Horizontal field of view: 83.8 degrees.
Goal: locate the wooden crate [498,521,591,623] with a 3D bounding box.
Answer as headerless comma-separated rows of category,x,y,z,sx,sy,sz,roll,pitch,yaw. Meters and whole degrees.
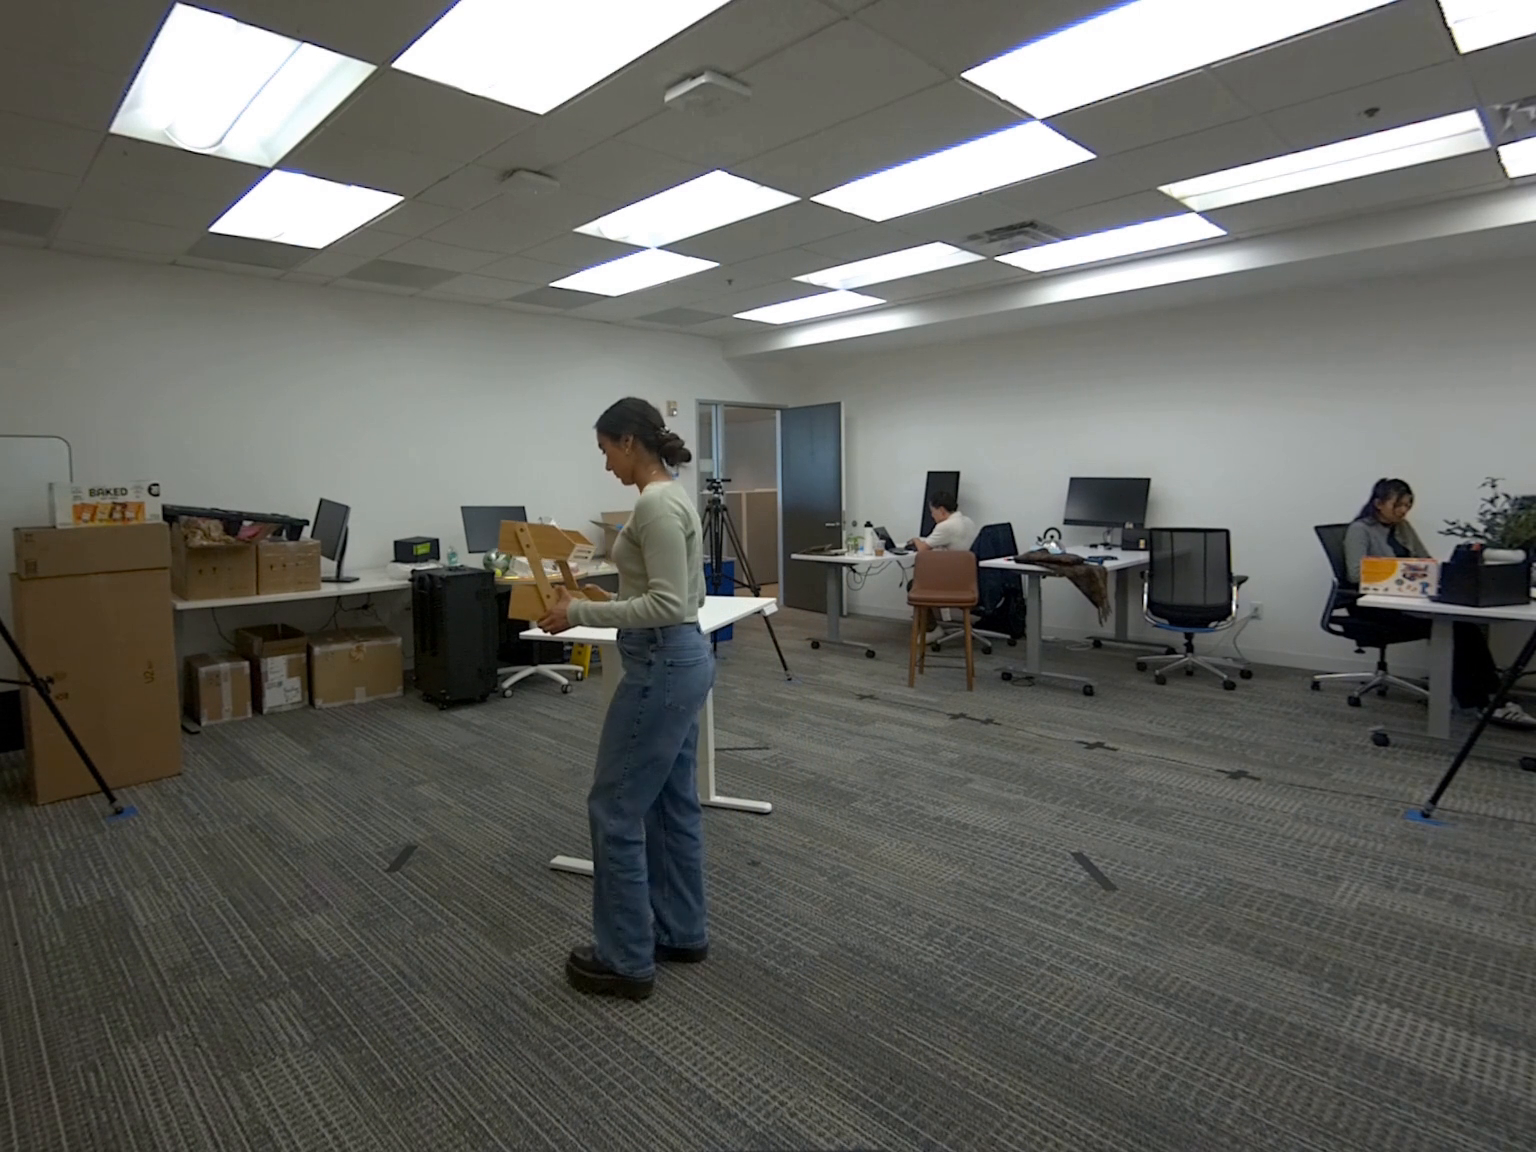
wooden crate,-0.572,-0.014,2.421,0.303,0.274,0.323,4,-1,1
